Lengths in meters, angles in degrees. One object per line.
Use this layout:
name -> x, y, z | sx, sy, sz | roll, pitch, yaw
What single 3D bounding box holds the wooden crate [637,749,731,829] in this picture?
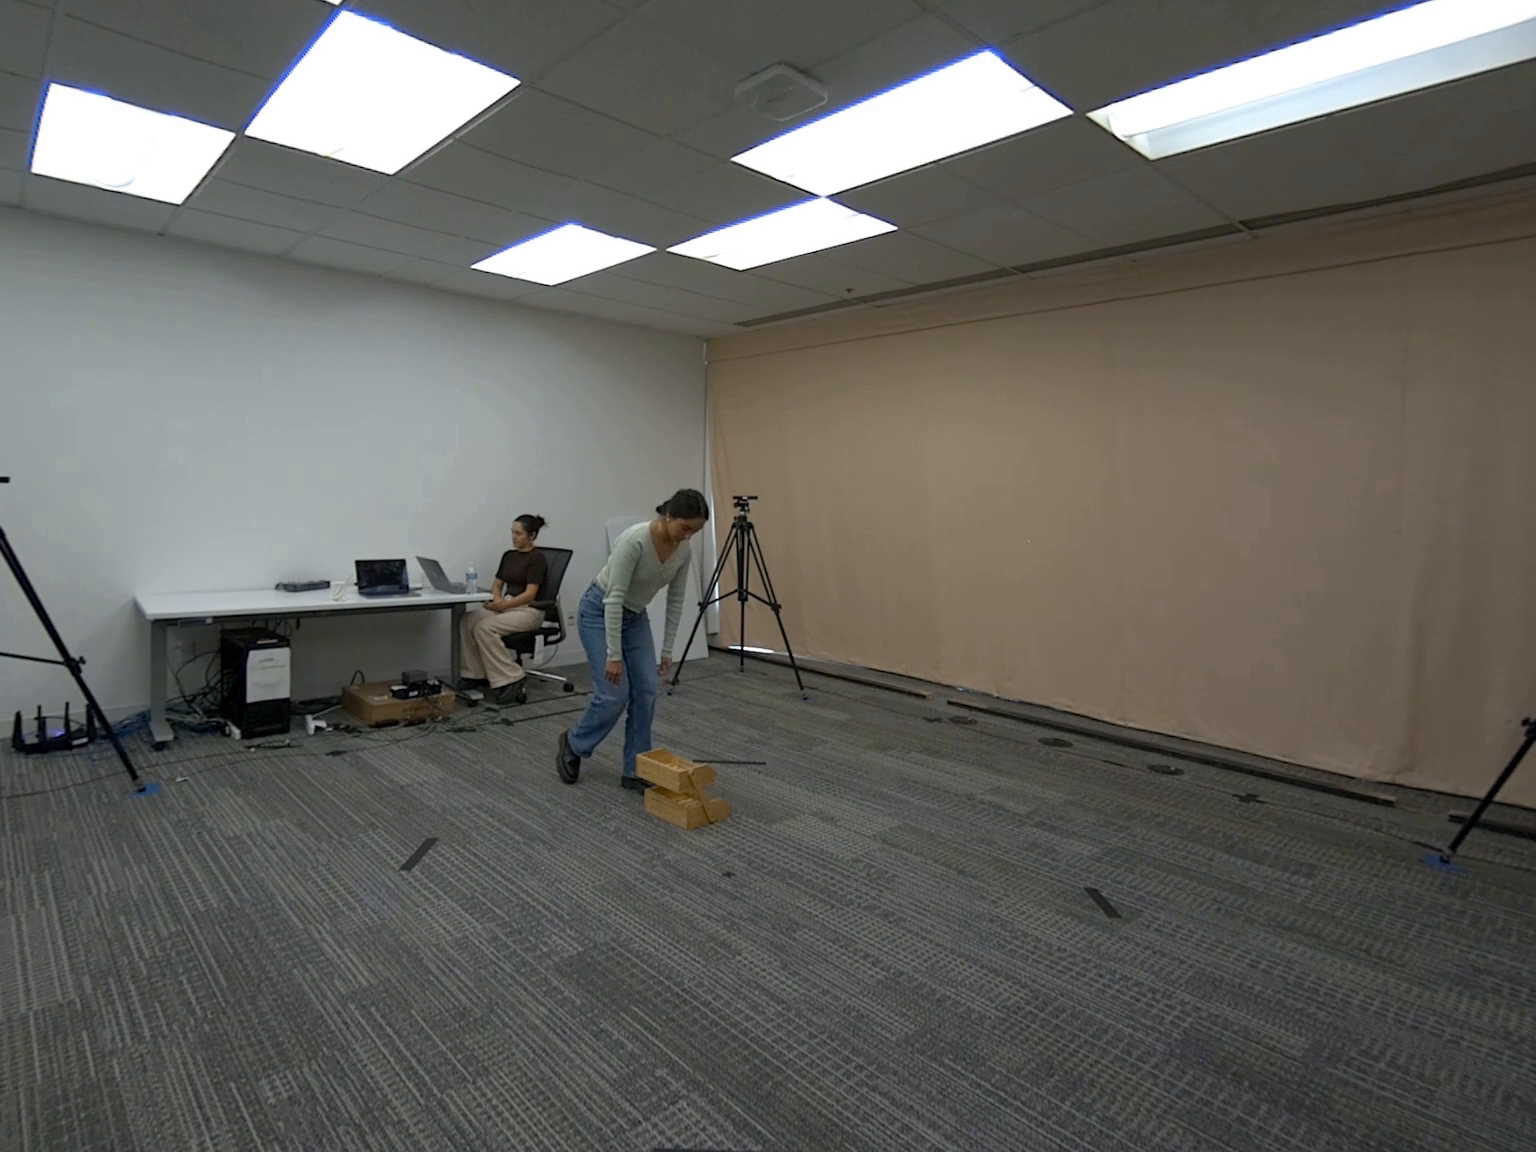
wooden crate -> -0.377, 0.912, 3.684 | 0.295, 0.272, 0.333 | -4, 7, -44
